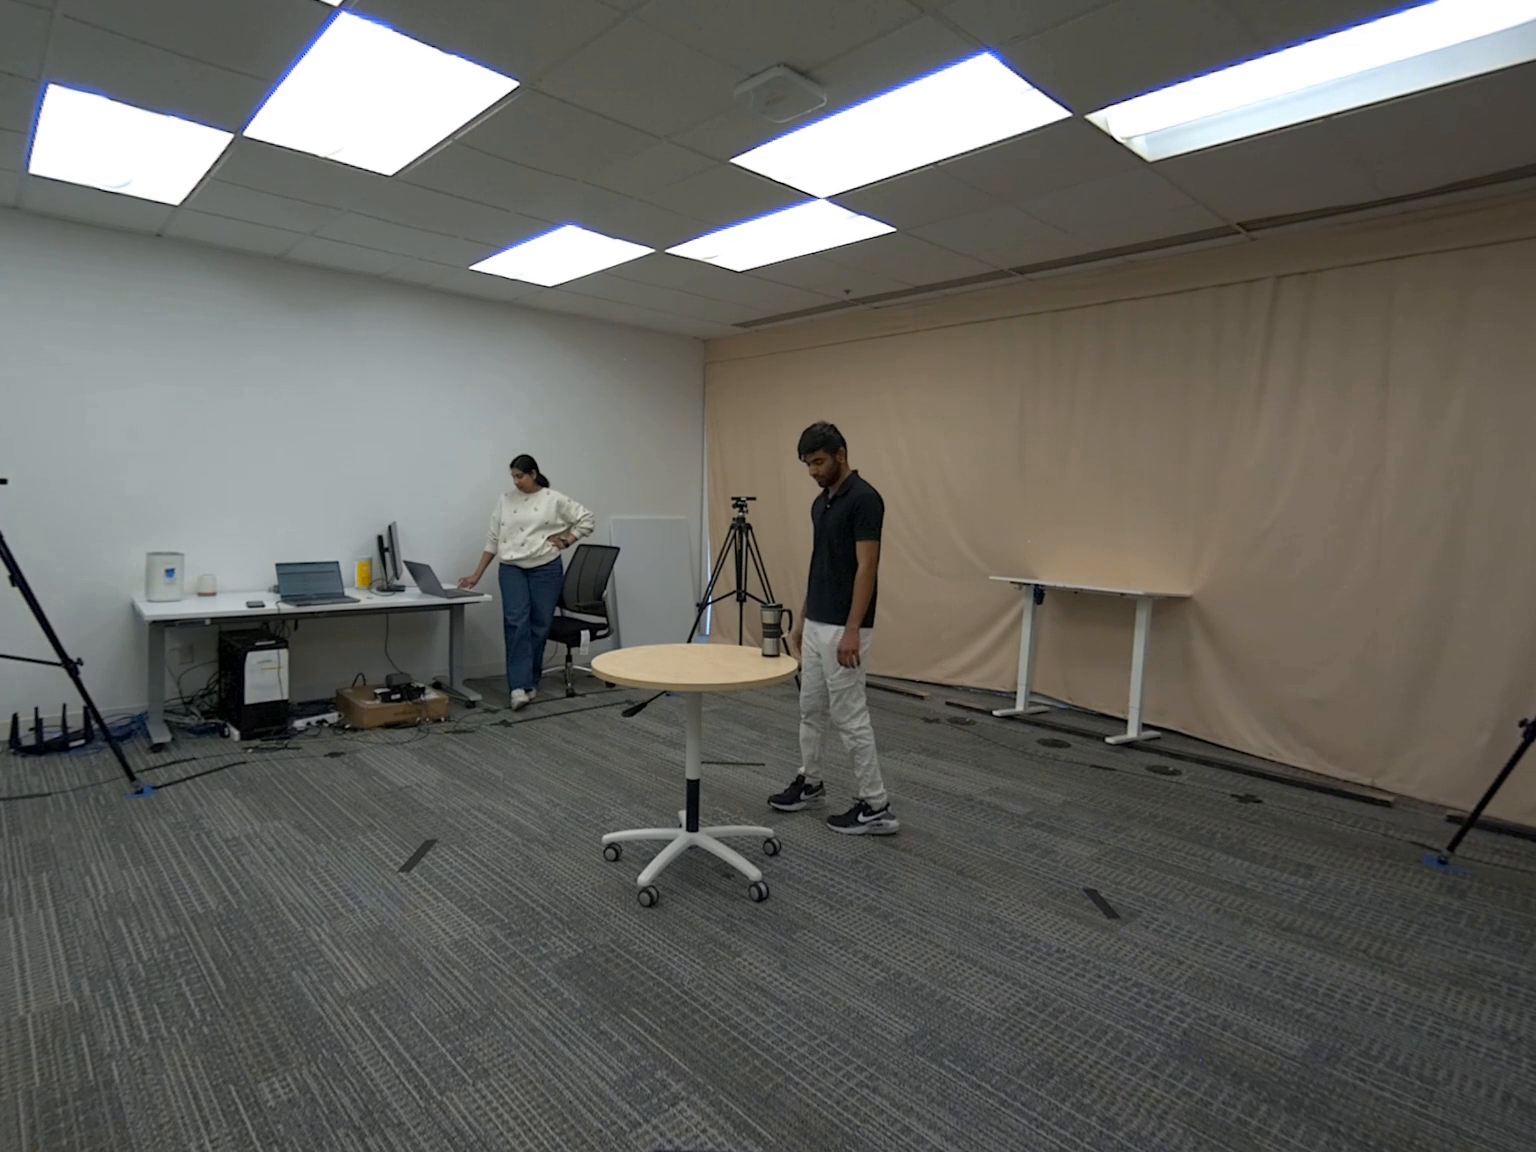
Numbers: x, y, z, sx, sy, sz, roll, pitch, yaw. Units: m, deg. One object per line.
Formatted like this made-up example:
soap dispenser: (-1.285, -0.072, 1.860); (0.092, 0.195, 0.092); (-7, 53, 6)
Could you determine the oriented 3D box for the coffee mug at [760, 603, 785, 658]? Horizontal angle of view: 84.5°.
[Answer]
coffee mug: (0.027, 0.211, 3.238); (0.124, 0.203, 0.086); (-1, 0, 32)
